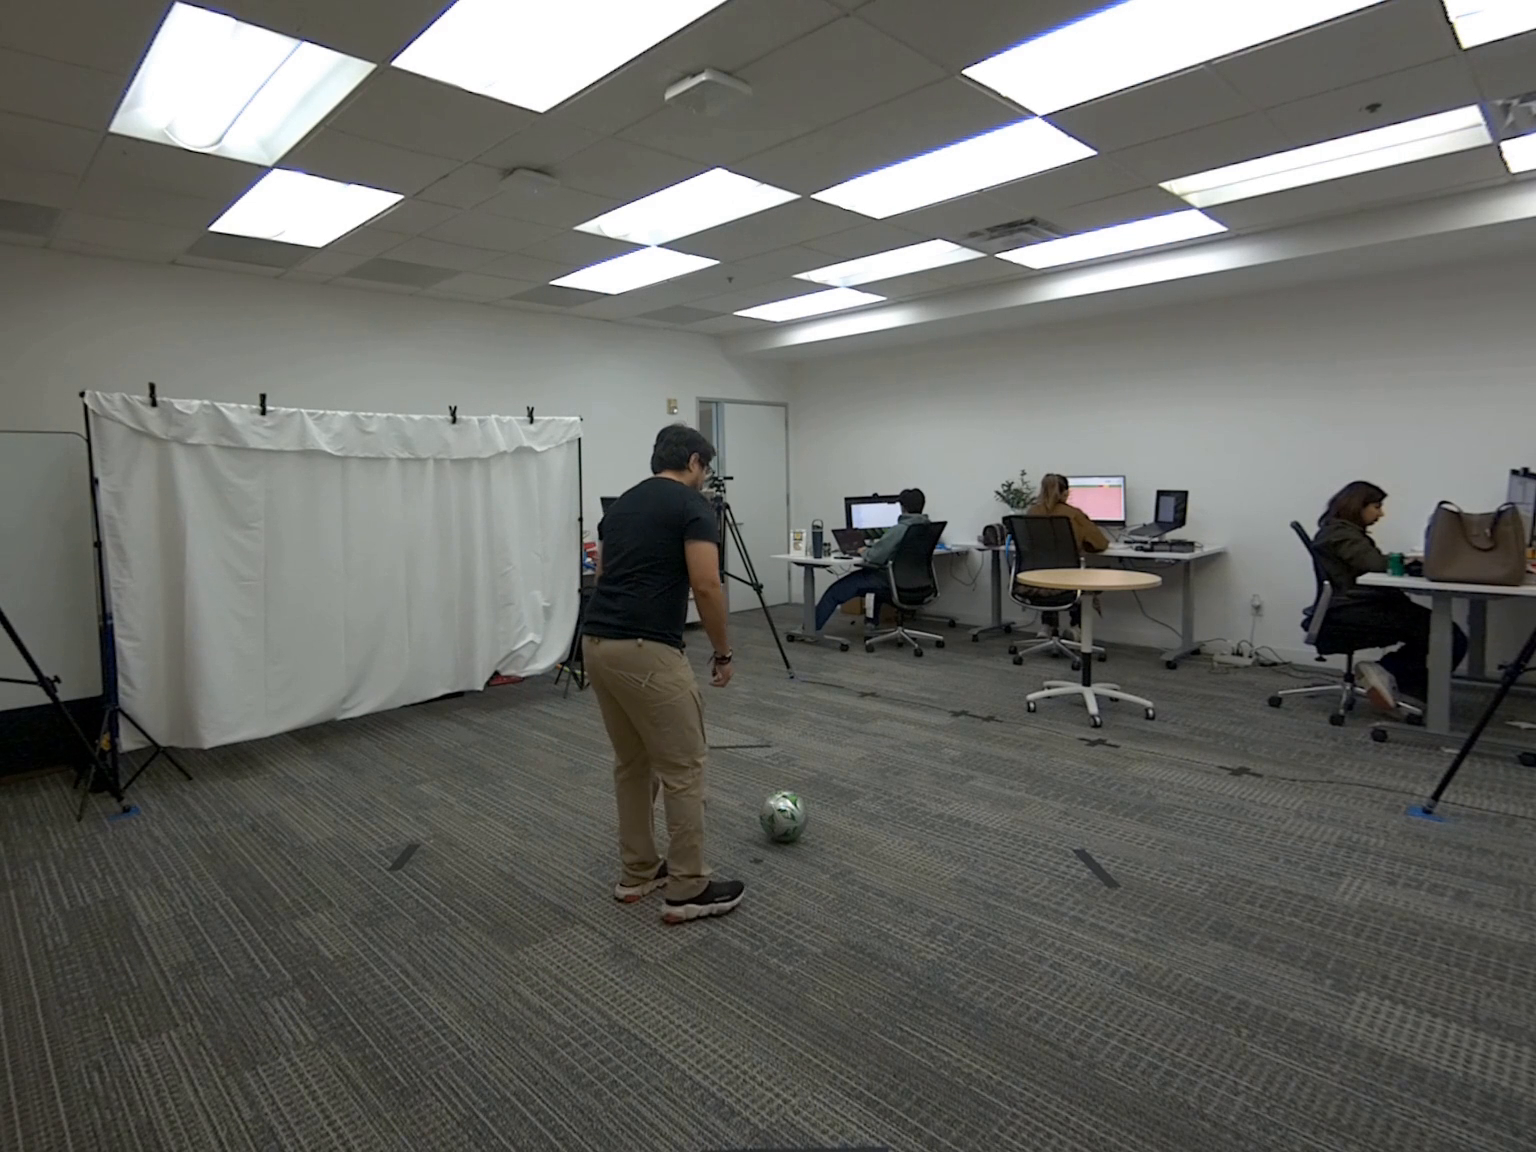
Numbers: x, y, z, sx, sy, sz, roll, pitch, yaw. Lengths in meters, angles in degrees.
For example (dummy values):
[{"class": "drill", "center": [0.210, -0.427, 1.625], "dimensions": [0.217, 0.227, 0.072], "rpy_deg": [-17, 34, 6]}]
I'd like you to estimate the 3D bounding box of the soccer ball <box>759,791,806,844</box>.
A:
[{"class": "soccer ball", "center": [0.066, 0.922, 3.286], "dimensions": [0.187, 0.187, 0.188], "rpy_deg": [-1, 5, -2]}]
